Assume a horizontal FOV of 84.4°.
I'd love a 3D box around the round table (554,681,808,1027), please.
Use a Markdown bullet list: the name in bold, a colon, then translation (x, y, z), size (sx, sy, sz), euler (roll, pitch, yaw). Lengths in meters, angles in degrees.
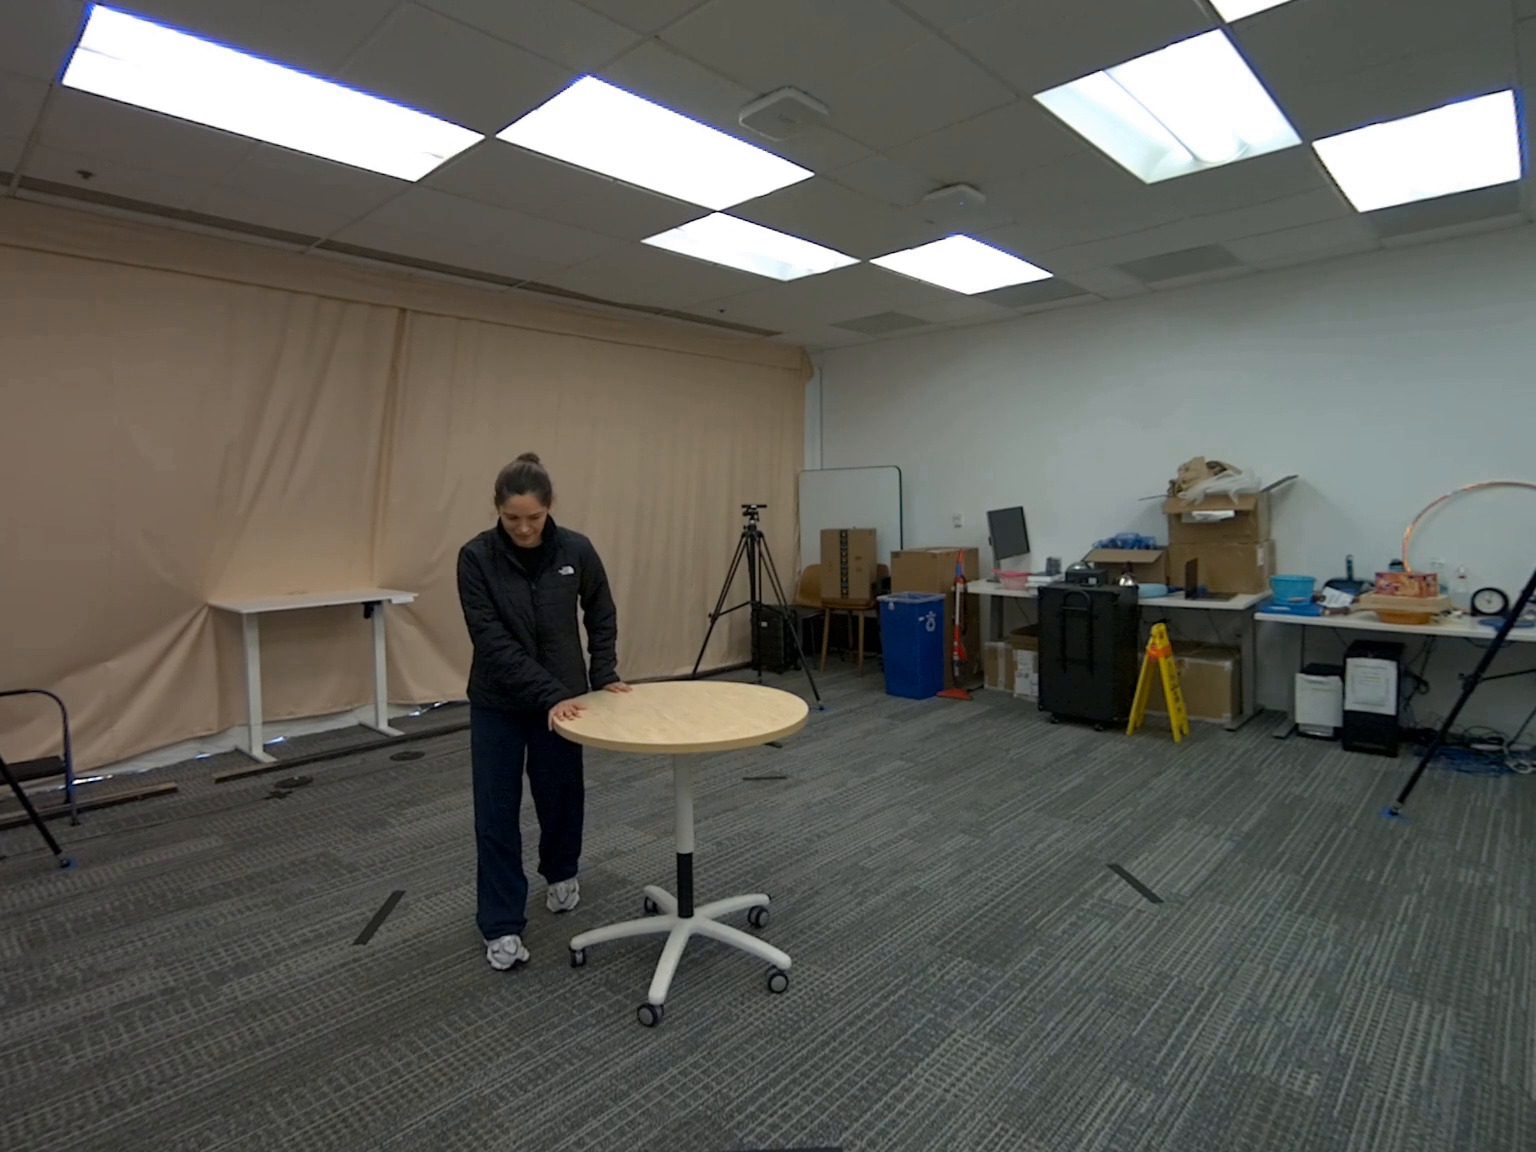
- **round table**: translation (-0.247, 0.790, 2.565), size (0.784, 0.785, 0.788), euler (-1, 4, -2)
